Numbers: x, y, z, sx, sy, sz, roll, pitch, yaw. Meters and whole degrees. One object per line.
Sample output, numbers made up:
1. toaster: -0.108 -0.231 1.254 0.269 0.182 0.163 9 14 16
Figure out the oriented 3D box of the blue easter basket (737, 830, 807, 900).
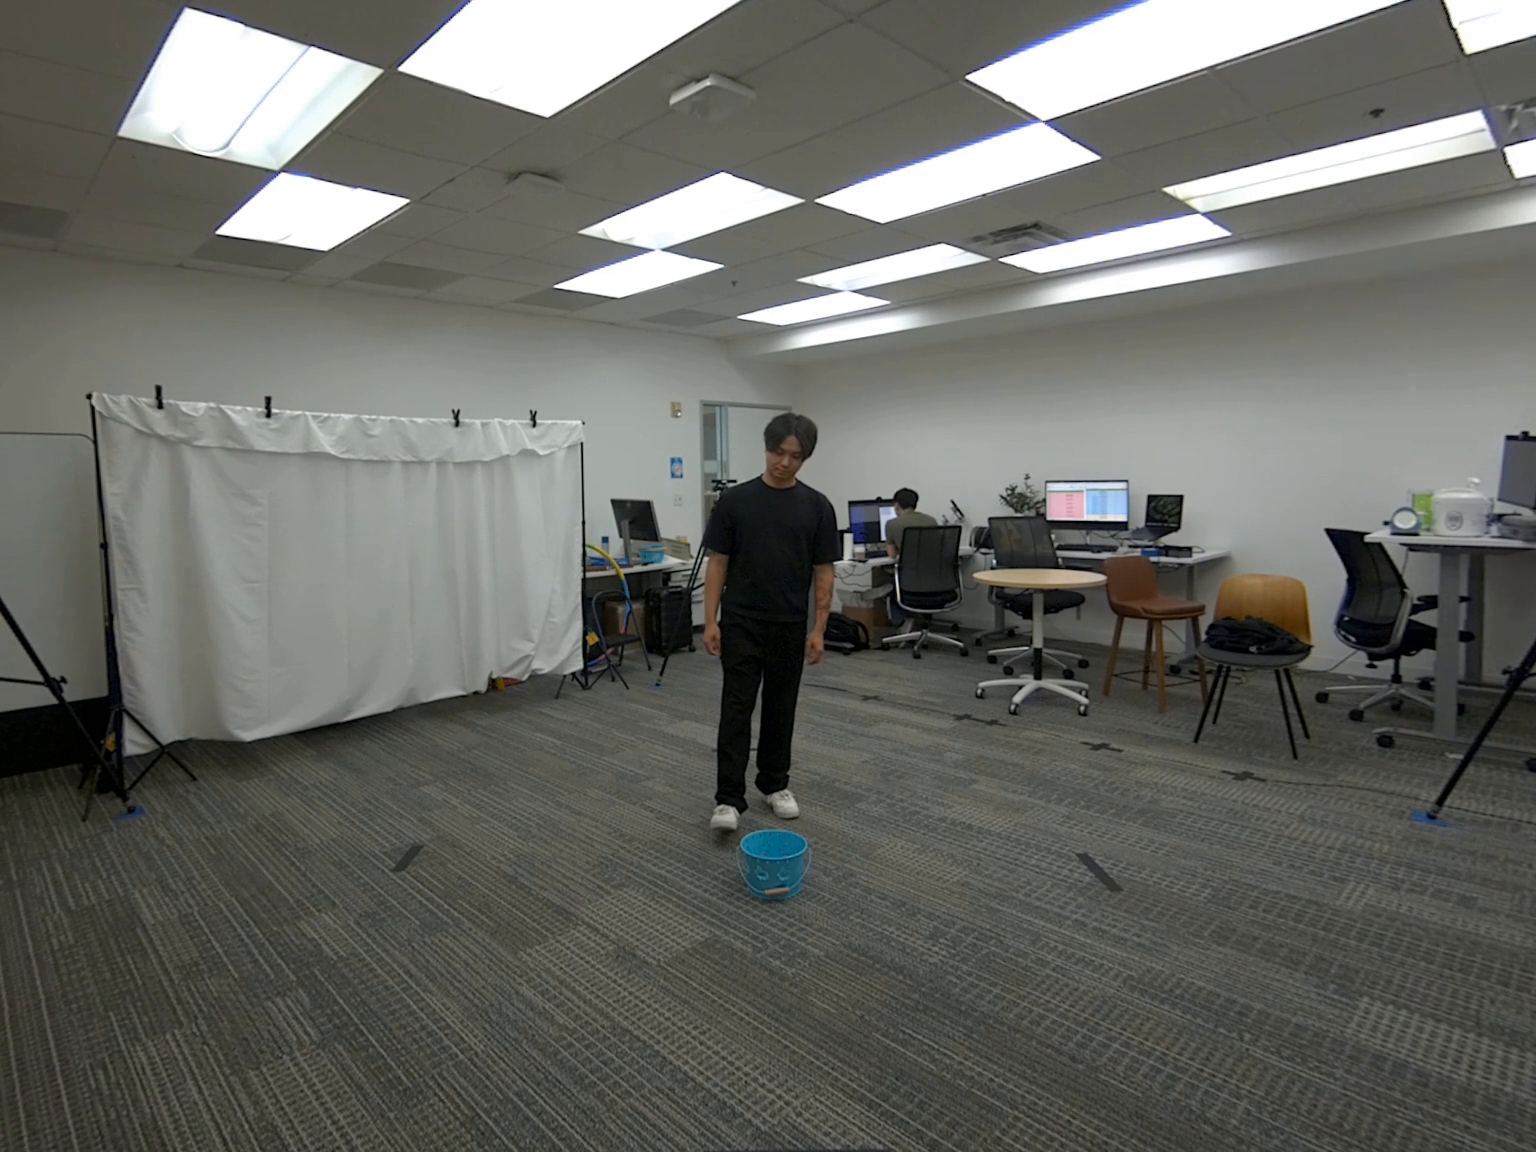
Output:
1. blue easter basket: 0.018 0.992 2.920 0.243 0.155 0.245 -1 6 -2
